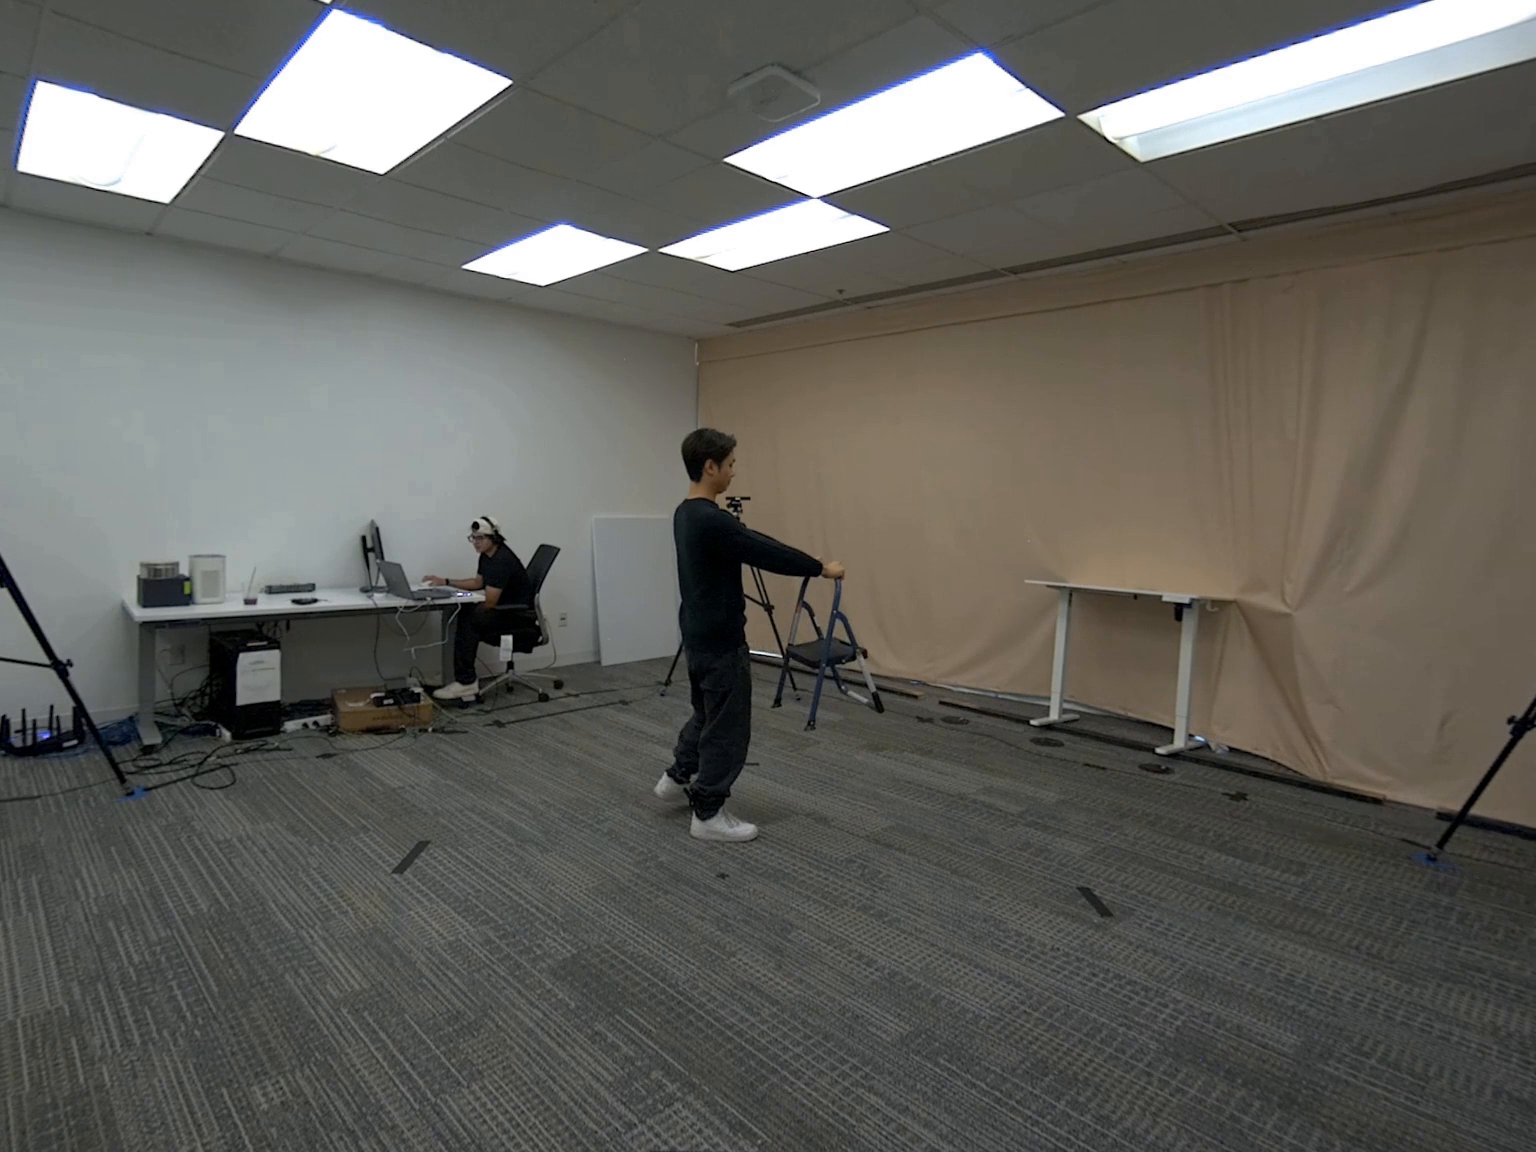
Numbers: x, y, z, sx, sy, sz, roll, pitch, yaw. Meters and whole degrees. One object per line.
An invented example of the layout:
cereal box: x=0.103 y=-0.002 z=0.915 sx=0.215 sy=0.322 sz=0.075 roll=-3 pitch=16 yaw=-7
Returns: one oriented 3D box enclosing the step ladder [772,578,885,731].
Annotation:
step ladder: x=0.192 y=0.268 z=3.518 sx=0.345 sy=0.603 sz=0.437 roll=-9 pitch=6 yaw=-18
